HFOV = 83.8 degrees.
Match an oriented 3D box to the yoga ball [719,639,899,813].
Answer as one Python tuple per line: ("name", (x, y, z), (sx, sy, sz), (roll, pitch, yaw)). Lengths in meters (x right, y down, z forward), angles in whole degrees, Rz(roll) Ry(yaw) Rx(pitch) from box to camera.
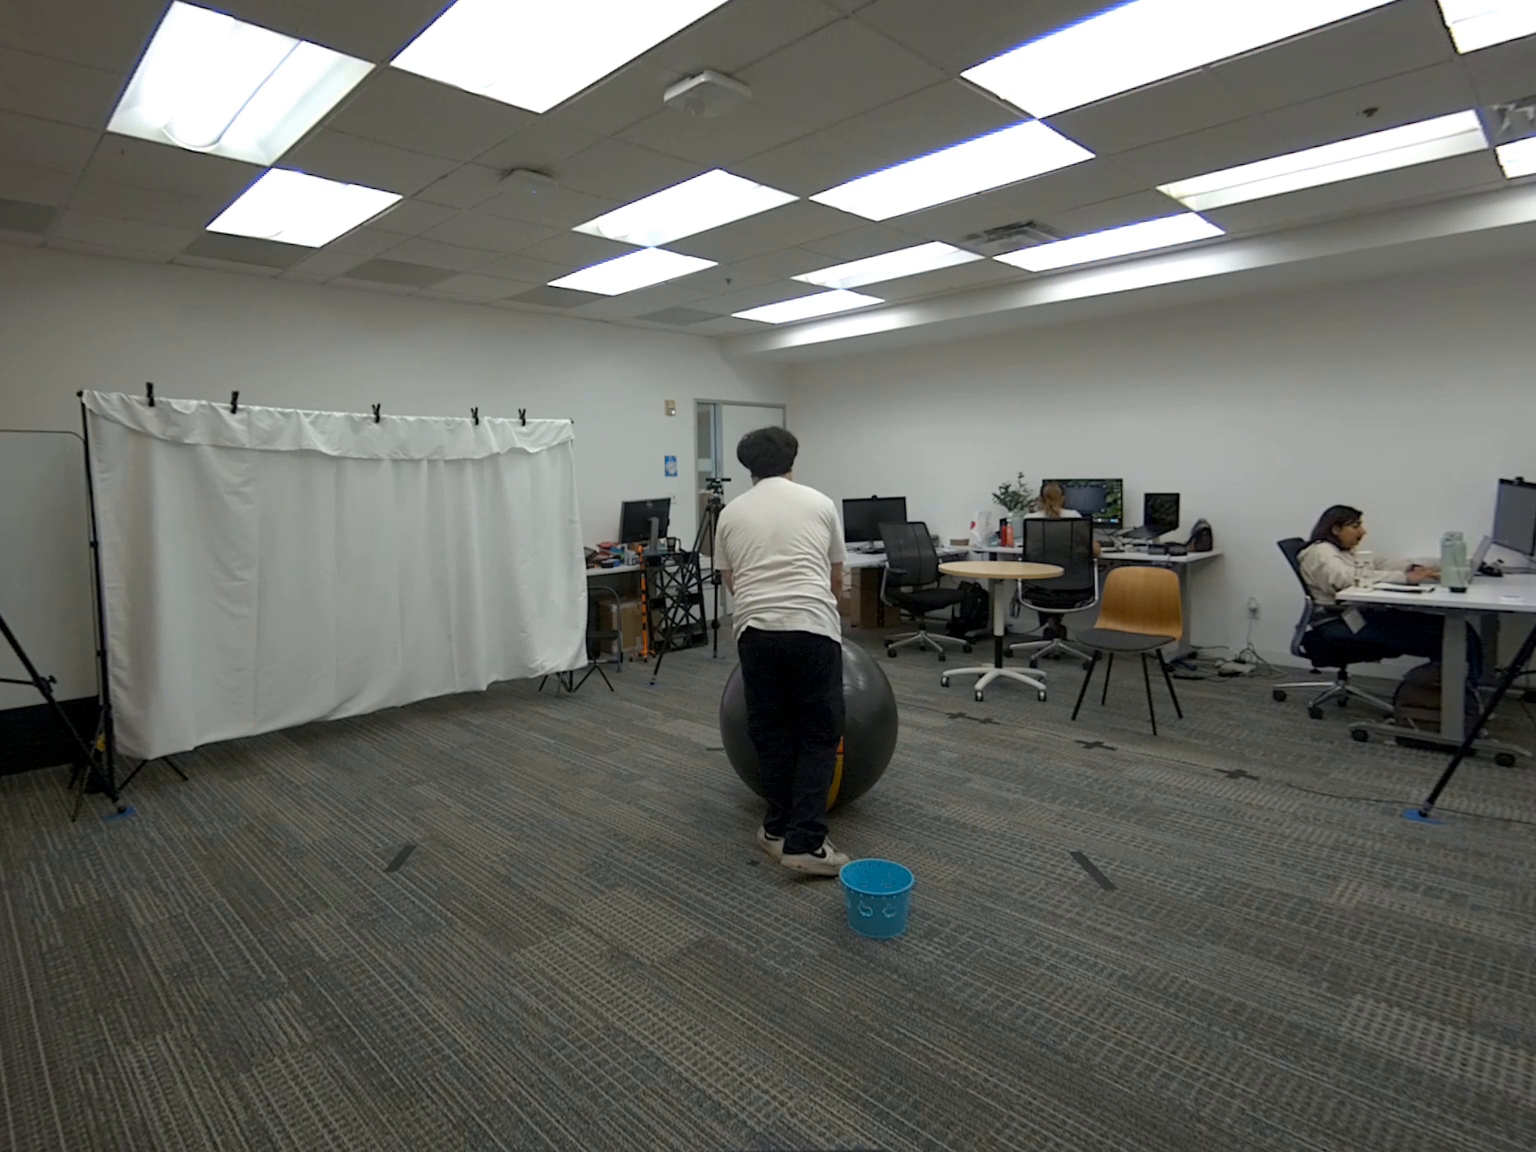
("yoga ball", (0.172, 0.612, 3.646), (0.757, 0.755, 0.762), (-1, 5, -2))
